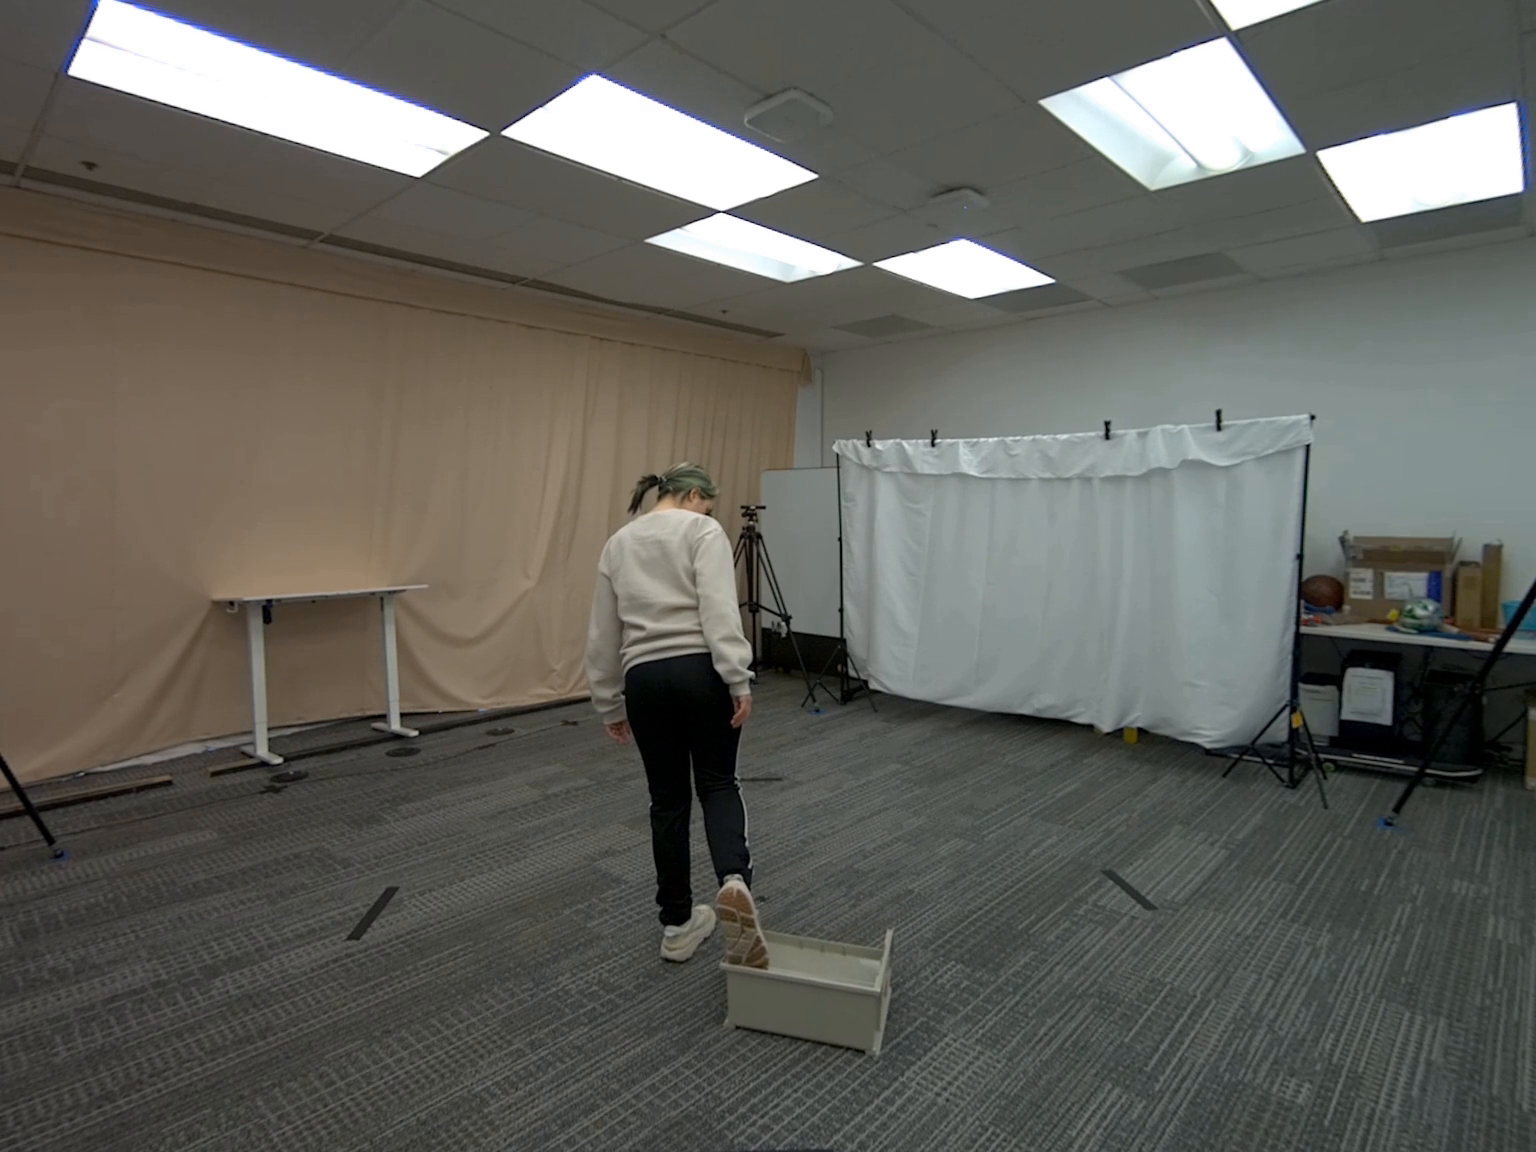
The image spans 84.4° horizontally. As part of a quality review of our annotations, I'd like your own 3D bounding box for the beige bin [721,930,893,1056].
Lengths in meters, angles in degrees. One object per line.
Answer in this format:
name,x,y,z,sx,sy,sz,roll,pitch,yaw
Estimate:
beige bin,0.128,1.108,2.344,0.430,0.188,0.372,1,6,16
